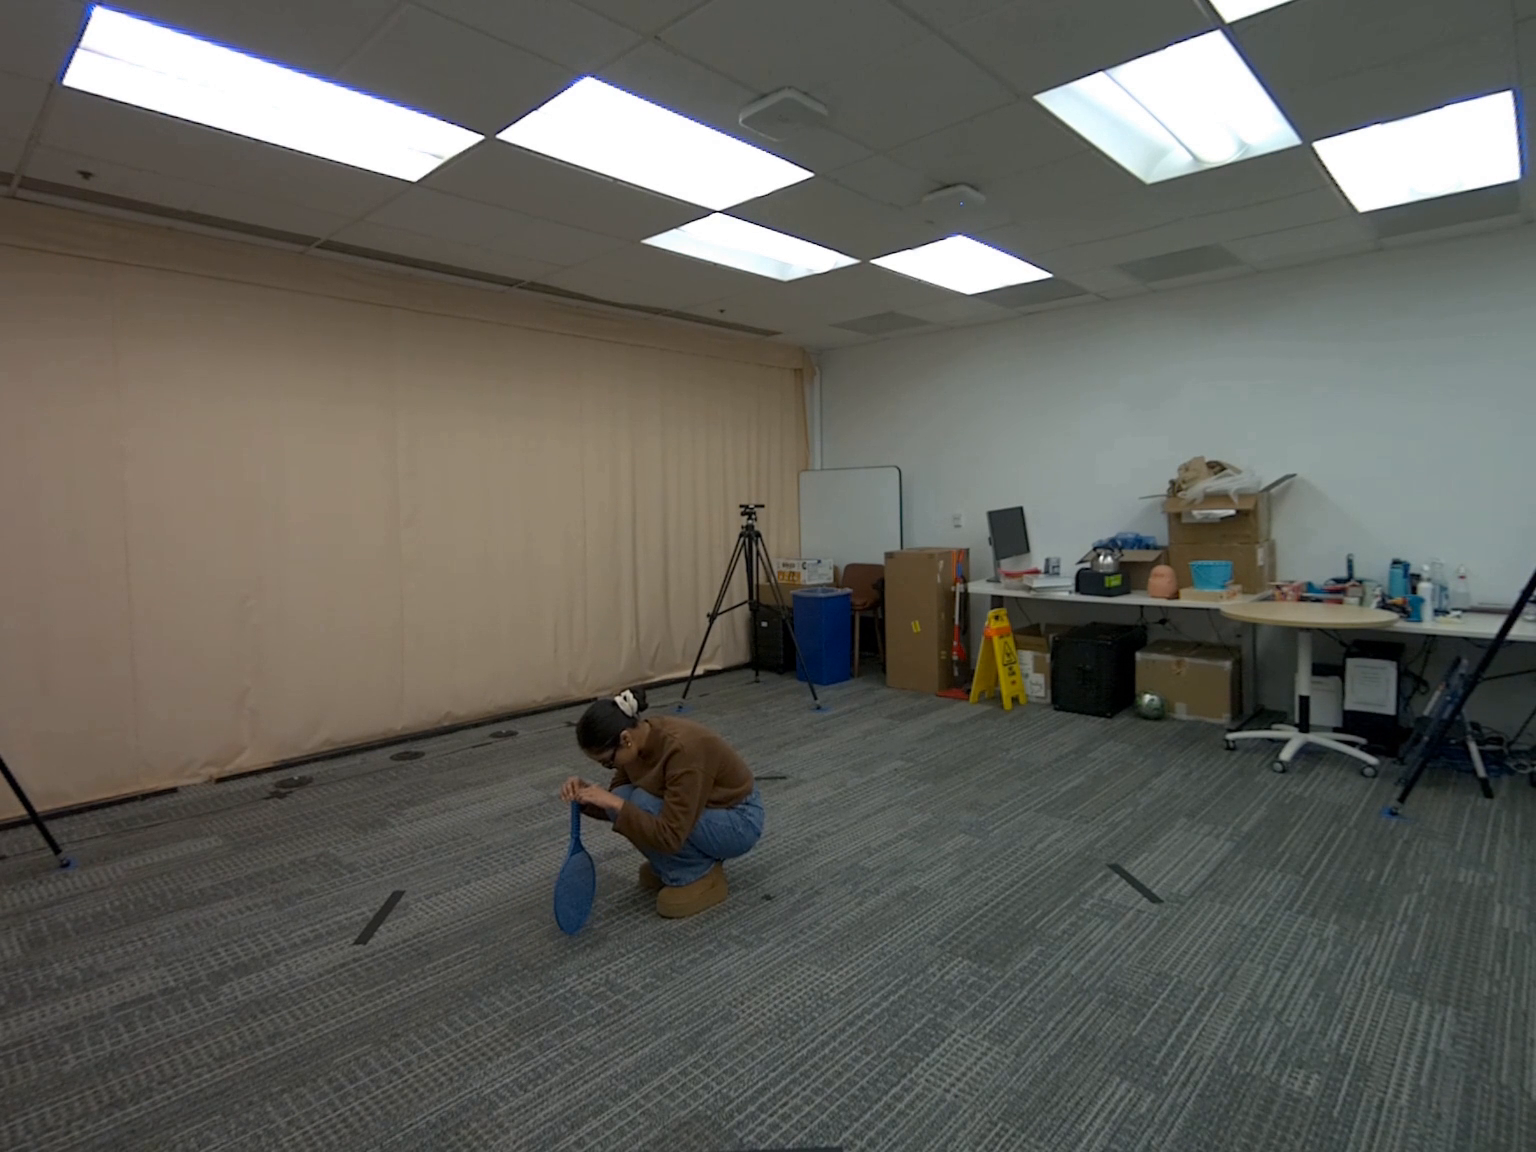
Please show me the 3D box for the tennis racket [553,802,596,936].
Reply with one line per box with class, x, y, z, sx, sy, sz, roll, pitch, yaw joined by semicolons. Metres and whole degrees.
tennis racket;-0.631;0.954;2.781;0.032;0.433;0.208;-1;-2;26
